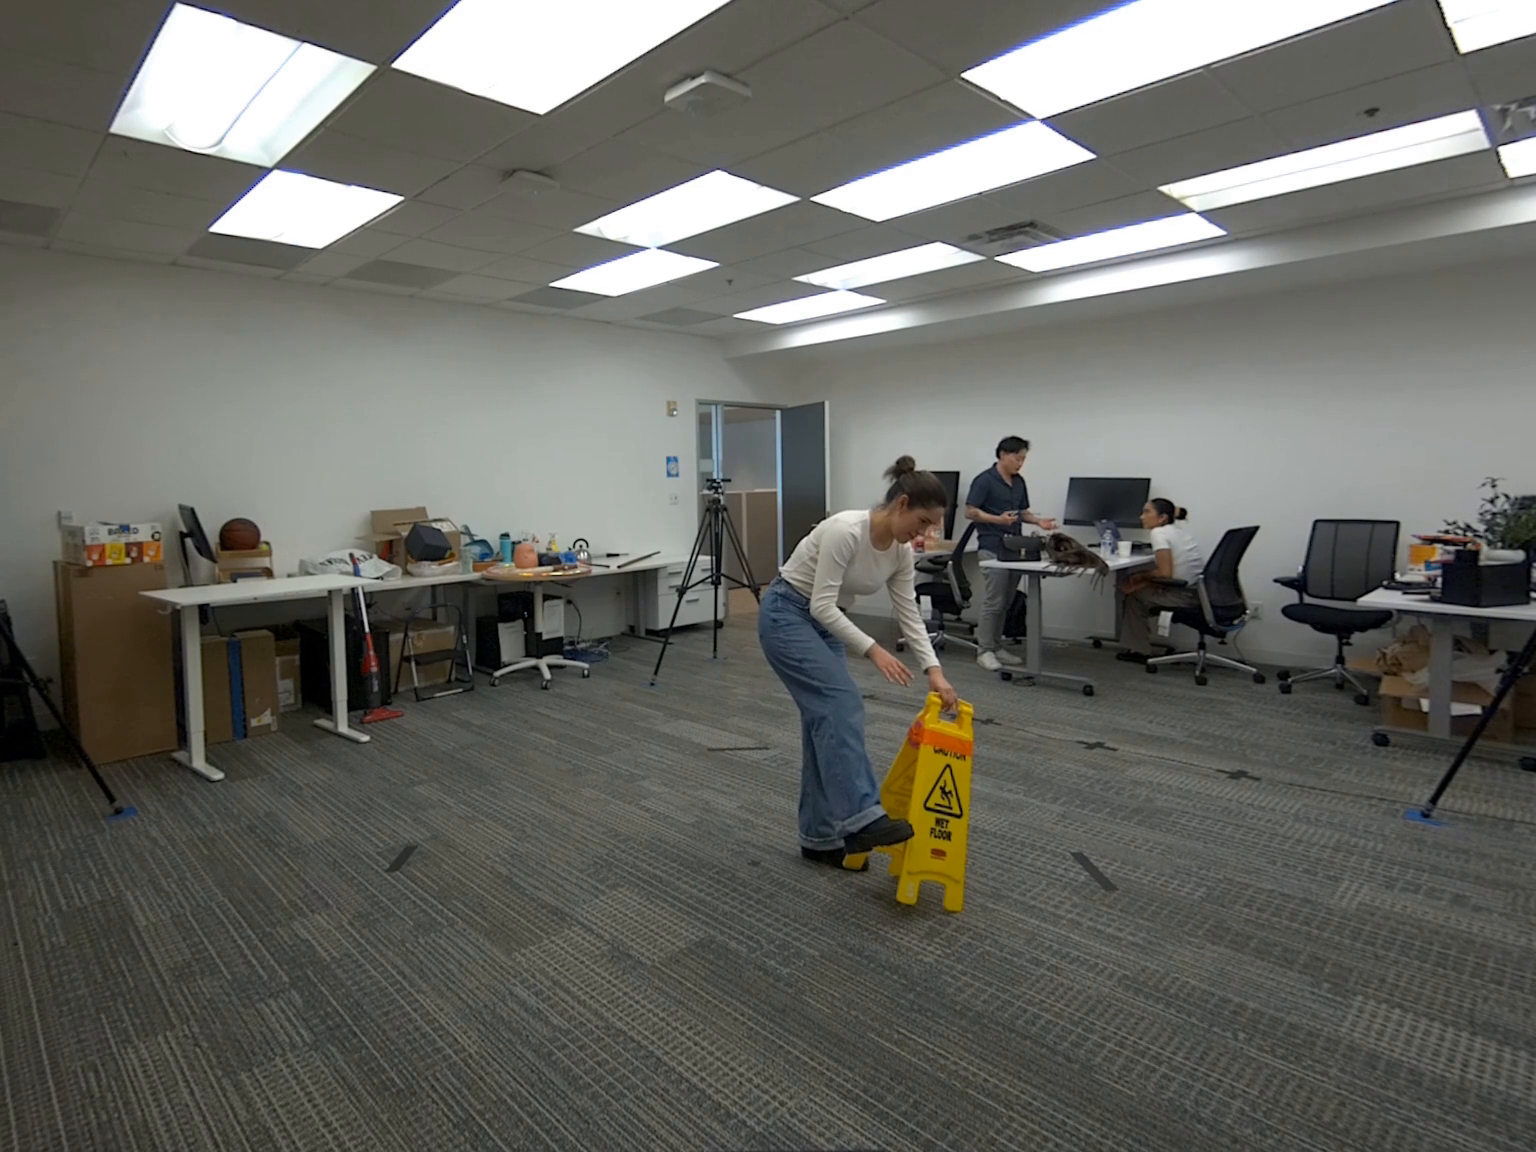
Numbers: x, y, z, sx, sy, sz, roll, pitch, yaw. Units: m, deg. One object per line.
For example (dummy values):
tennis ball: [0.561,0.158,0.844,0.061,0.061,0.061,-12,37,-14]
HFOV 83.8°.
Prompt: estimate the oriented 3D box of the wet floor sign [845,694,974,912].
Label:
wet floor sign: [0.530,0.719,2.841,0.273,0.649,0.298,22,-8,-31]
